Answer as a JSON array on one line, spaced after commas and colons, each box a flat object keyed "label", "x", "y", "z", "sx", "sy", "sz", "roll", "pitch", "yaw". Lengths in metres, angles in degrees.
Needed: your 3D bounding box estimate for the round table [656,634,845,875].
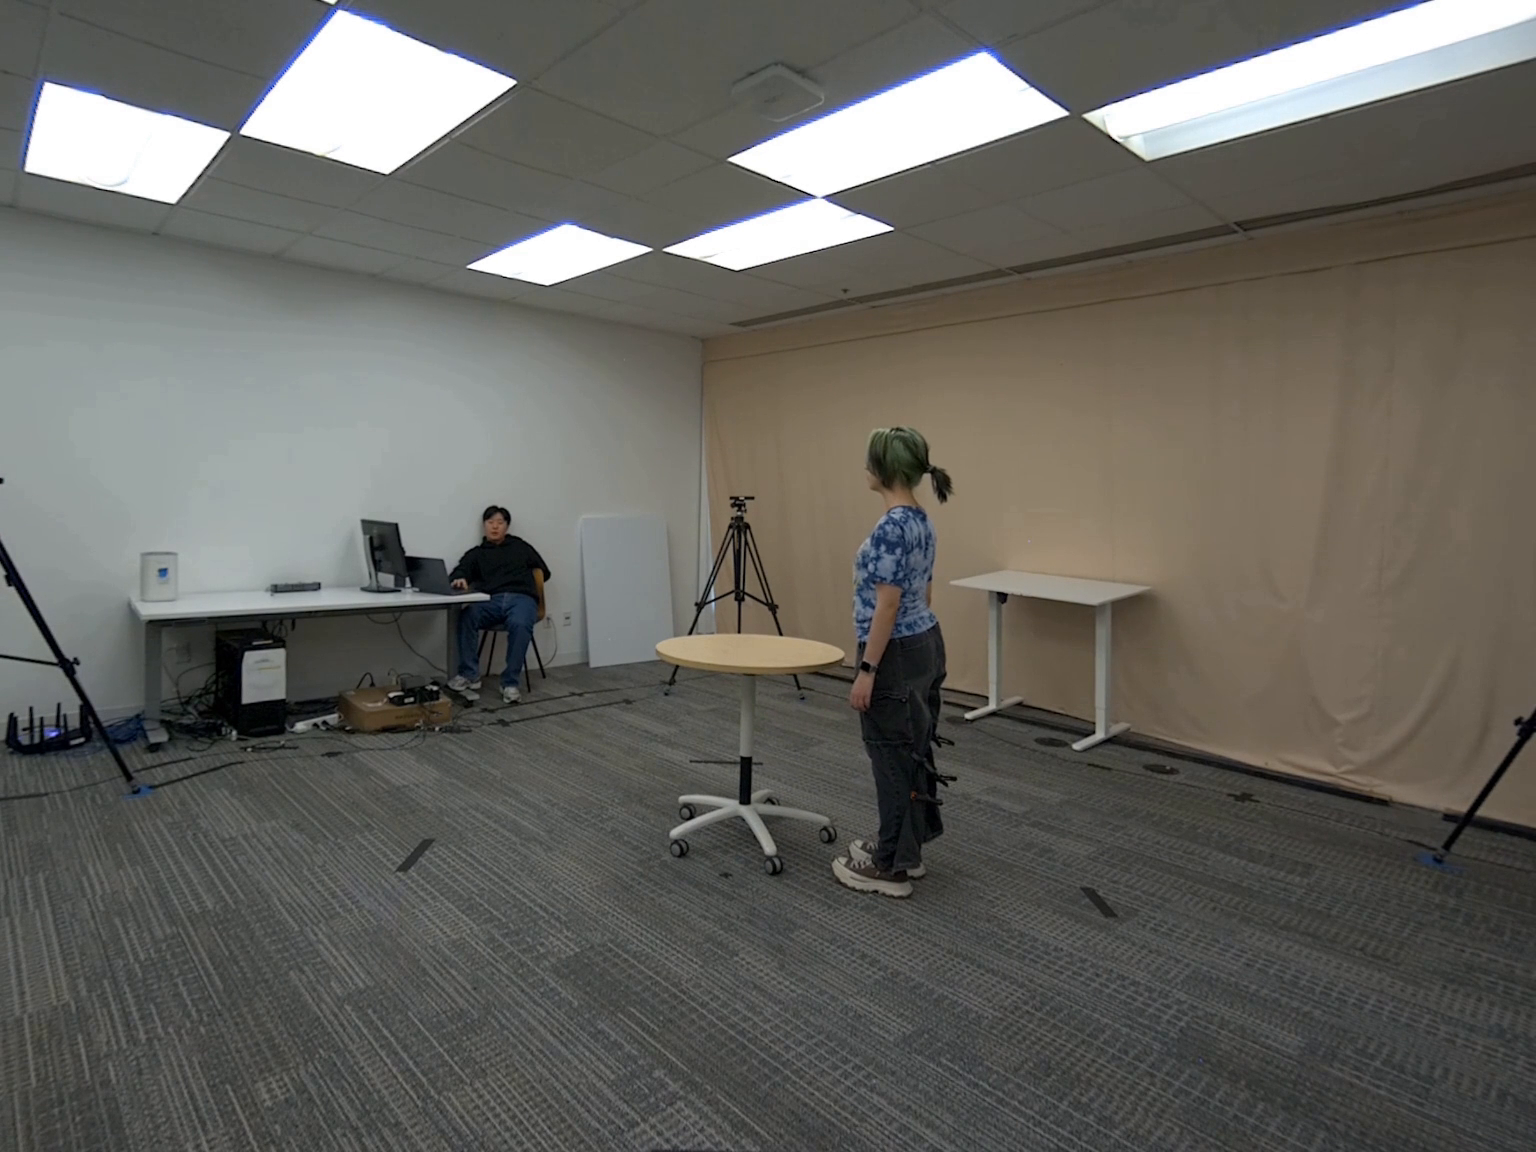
[{"label": "round table", "x": -0.094, "y": 0.692, "z": 3.447, "sx": 0.763, "sy": 0.792, "sz": 0.766, "roll": 2, "pitch": 4, "yaw": -1}]
